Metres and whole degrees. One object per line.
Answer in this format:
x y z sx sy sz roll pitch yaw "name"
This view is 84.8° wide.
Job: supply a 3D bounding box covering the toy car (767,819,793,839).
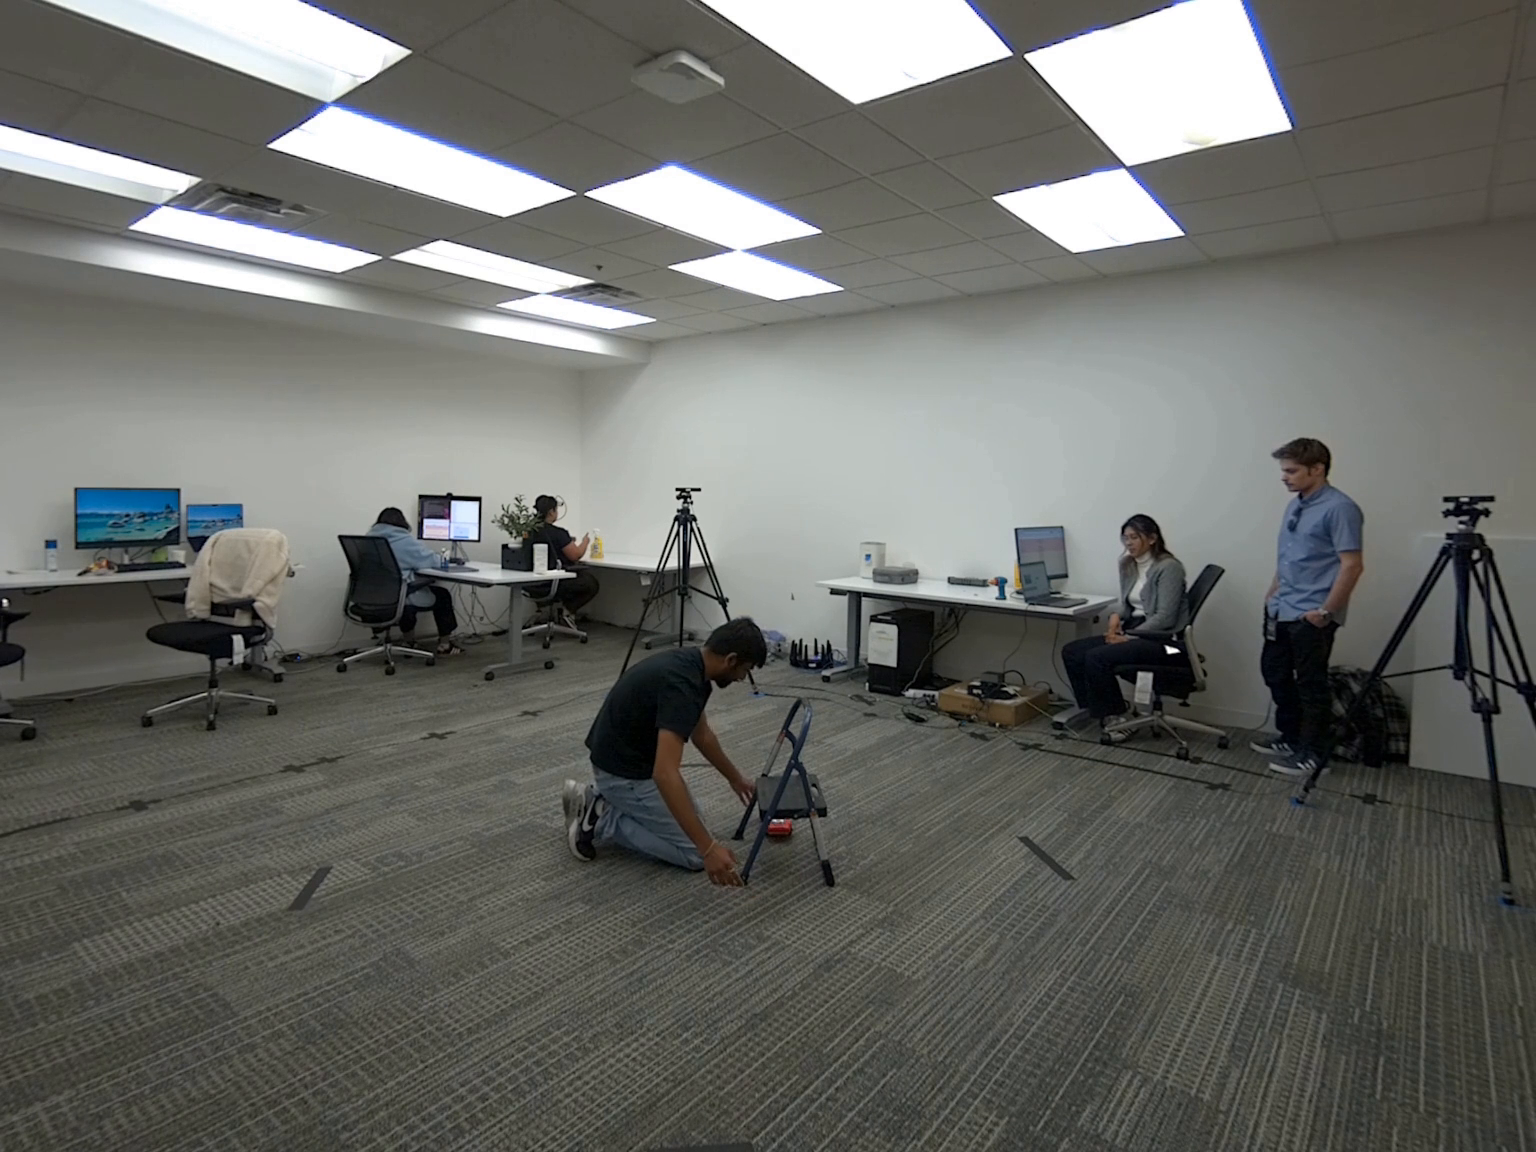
0.031 1.018 3.492 0.131 0.084 0.251 -1 -10 2 "toy car"
